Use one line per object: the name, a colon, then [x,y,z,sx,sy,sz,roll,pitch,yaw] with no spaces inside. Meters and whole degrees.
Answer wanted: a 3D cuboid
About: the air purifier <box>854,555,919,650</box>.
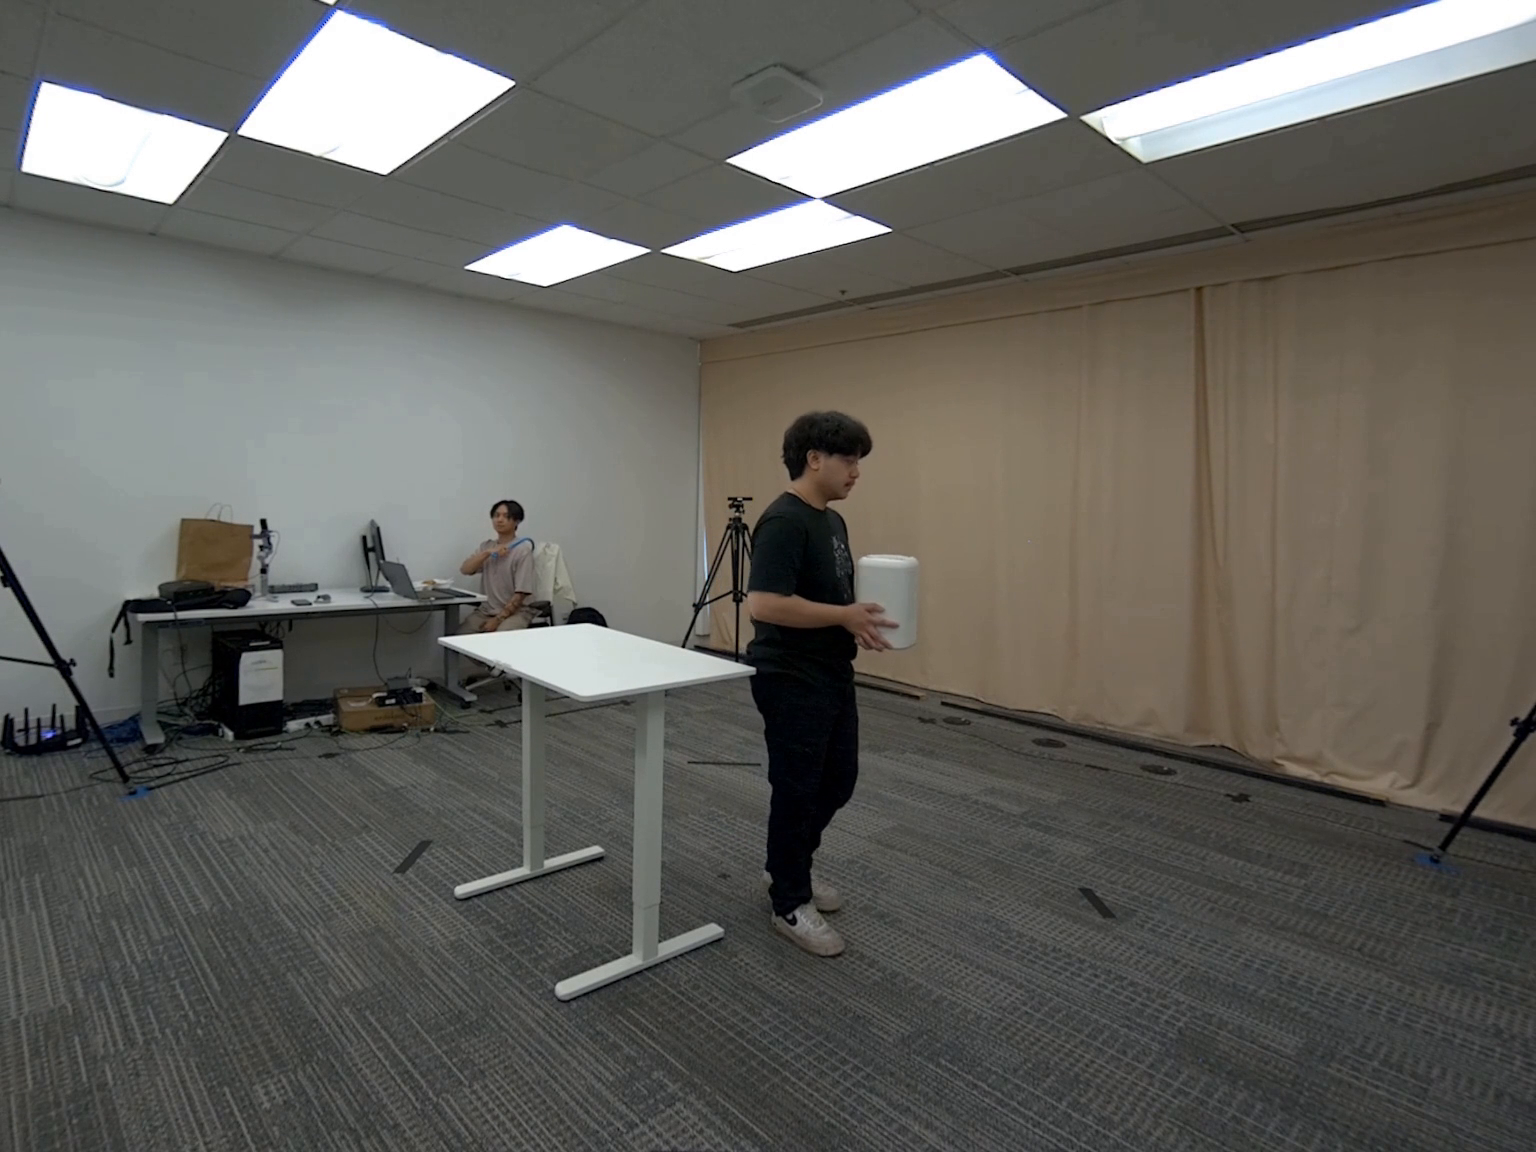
air purifier: [0.345,0.072,2.559,0.174,0.264,0.169,4,7,27]
